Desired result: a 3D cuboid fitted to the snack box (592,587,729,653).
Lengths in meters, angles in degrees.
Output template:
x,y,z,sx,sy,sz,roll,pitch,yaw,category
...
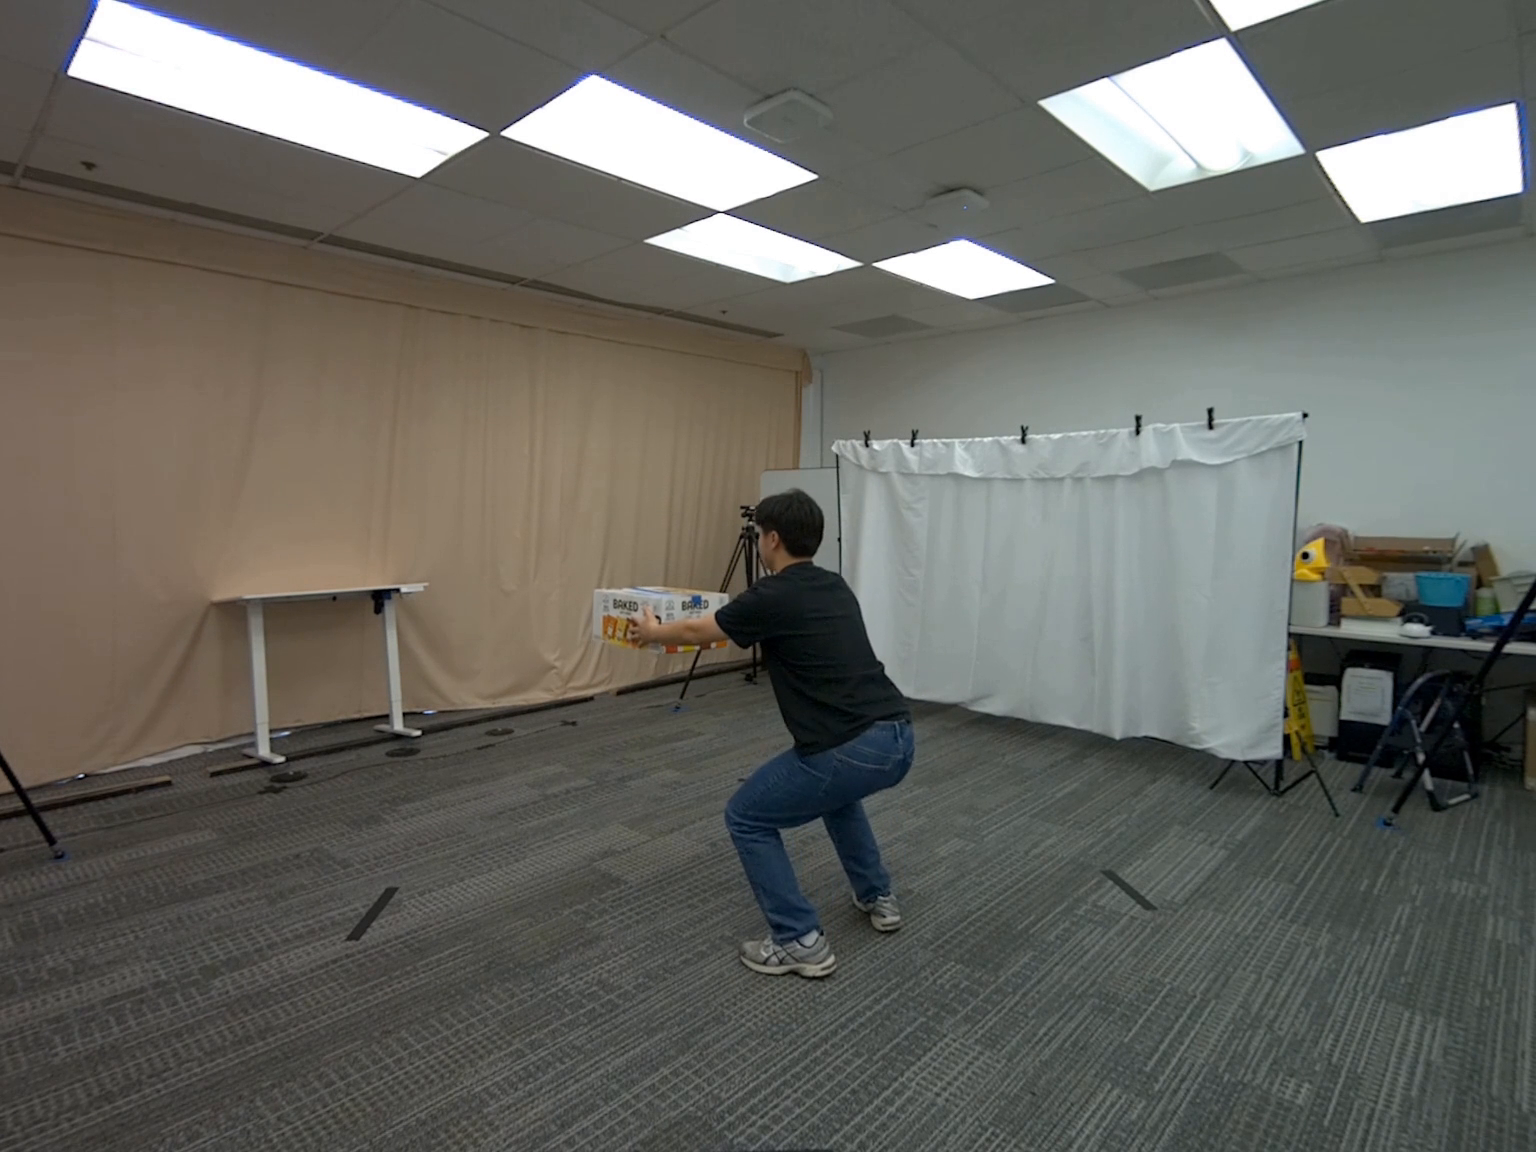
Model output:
x,y,z,sx,sy,sz,roll,pitch,yaw,category
-0.412,0.161,3.240,0.419,0.205,0.329,4,4,44,snack box
